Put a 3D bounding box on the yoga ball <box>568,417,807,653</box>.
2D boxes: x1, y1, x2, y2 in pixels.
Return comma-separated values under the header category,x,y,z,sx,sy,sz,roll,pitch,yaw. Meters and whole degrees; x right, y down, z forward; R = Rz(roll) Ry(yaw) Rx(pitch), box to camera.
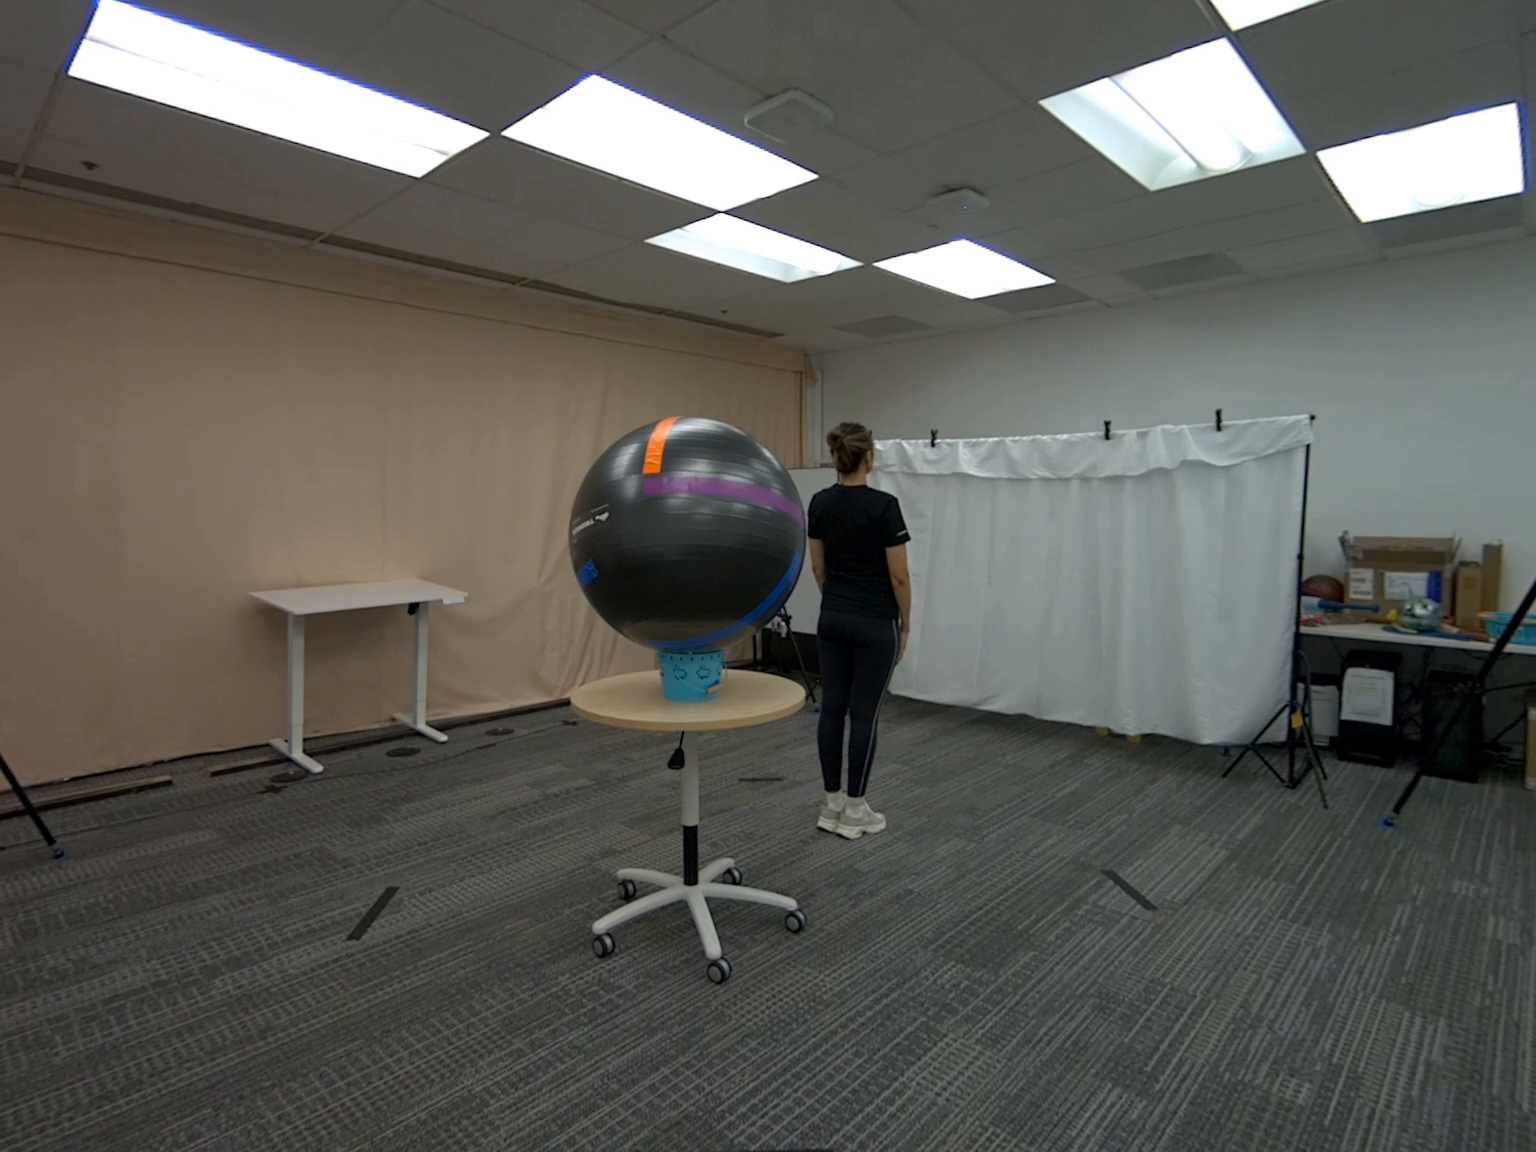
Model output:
category,x,y,z,sx,sy,sz,roll,pitch,yaw
yoga ball,-0.260,-0.122,2.690,0.757,0.756,0.761,0,4,-2
